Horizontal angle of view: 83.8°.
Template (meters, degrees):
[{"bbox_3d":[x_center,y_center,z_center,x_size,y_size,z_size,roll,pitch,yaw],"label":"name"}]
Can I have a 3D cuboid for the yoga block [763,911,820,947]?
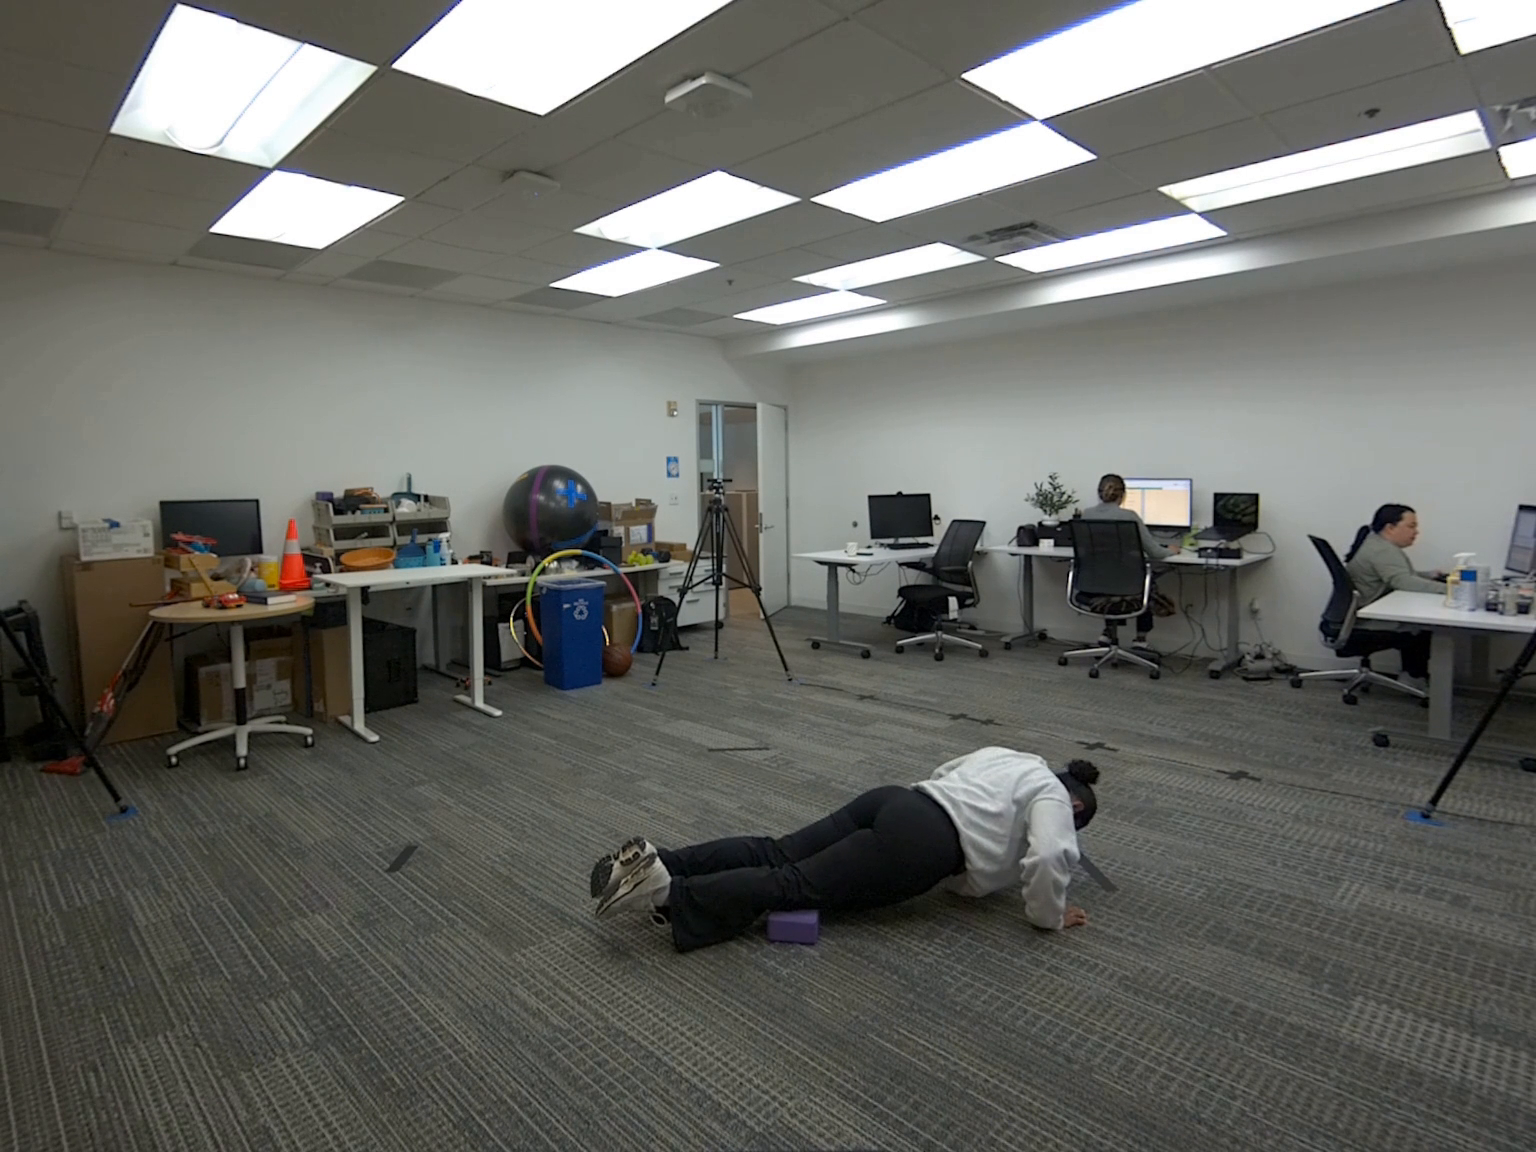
[{"bbox_3d":[0.078,1.049,2.678,0.150,0.076,0.228,0,7,9],"label":"yoga block"}]
